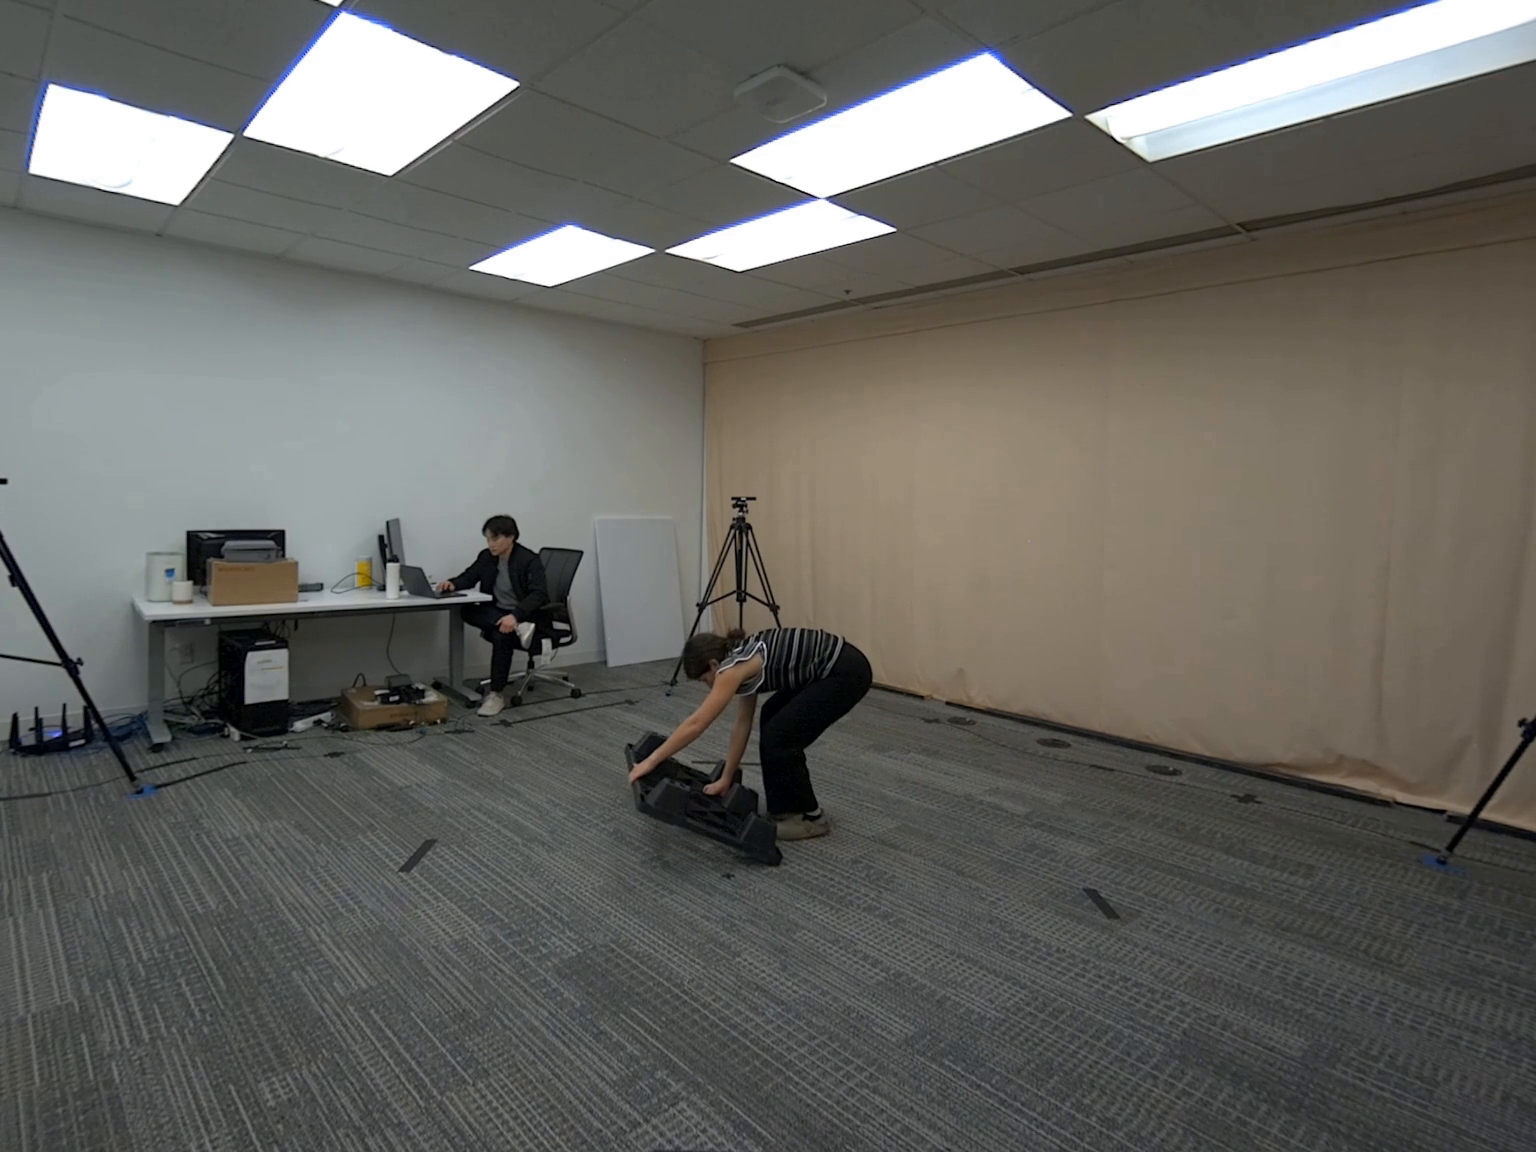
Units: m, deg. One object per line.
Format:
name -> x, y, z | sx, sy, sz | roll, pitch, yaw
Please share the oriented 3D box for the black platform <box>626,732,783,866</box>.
black platform -> -0.292, 0.890, 3.527 | 0.597, 0.143, 0.815 | 25, -1, -13
